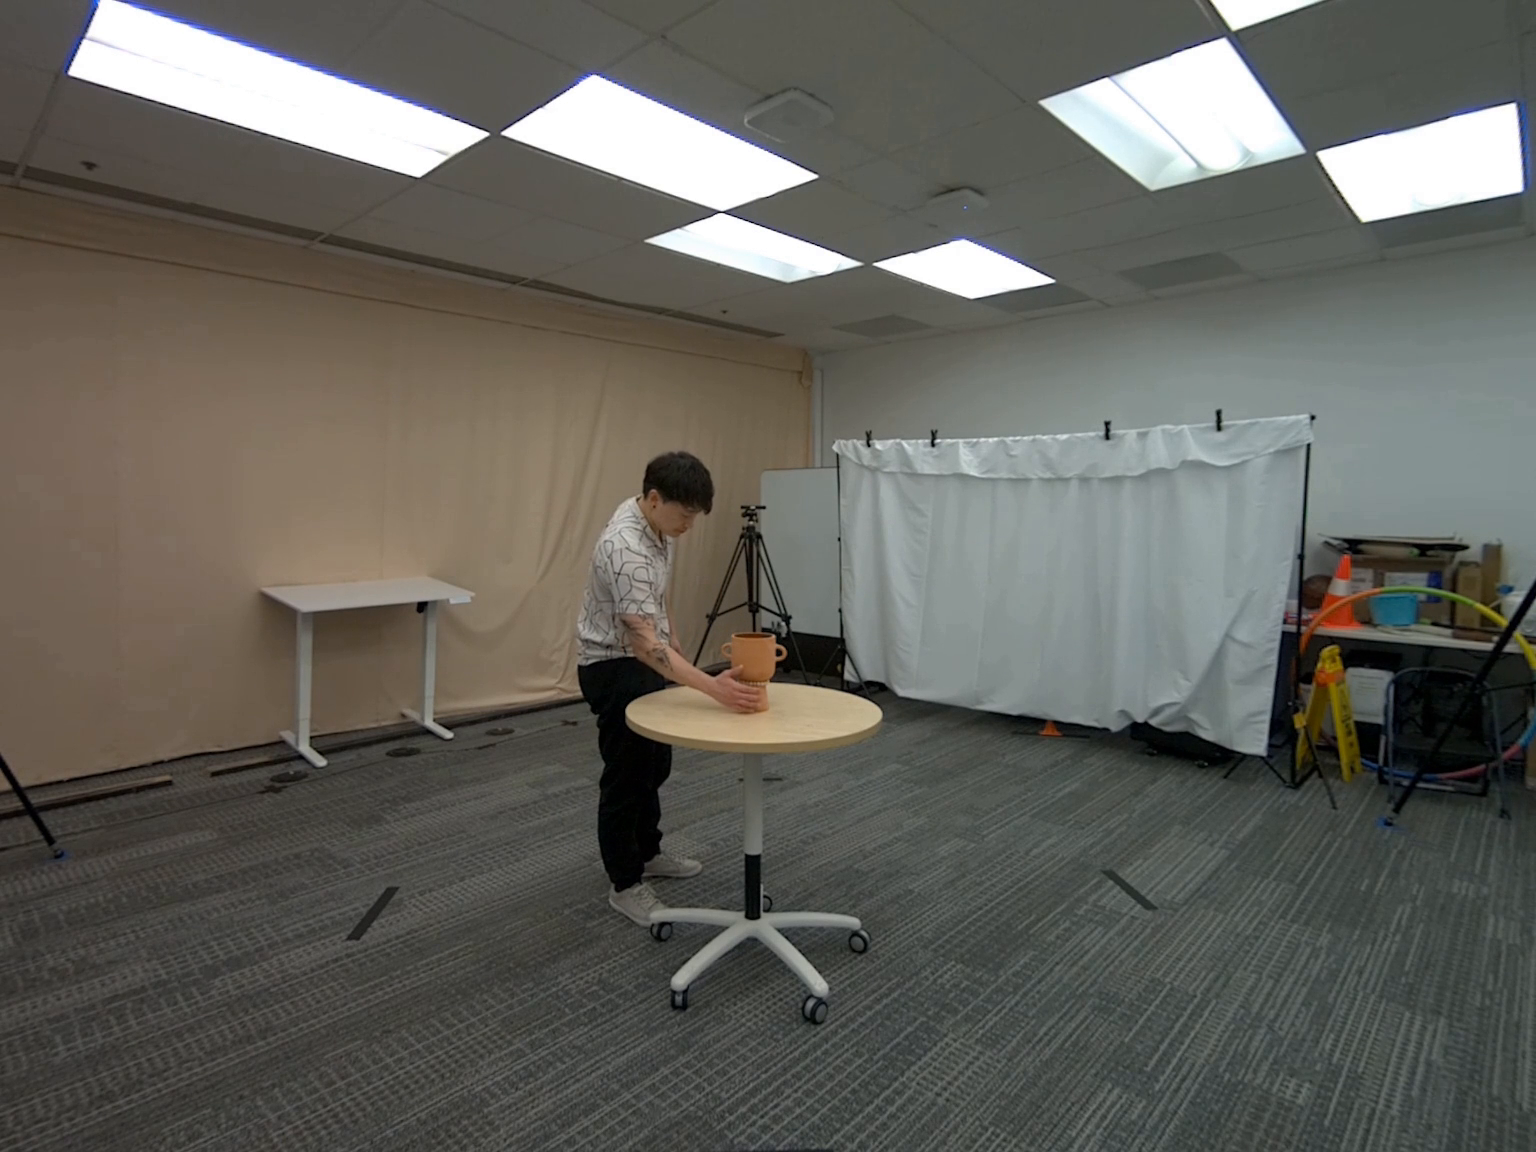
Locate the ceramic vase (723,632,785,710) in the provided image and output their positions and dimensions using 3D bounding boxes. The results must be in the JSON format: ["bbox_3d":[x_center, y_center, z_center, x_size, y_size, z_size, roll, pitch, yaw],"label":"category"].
[{"bbox_3d":[-0.039,0.291,2.521,0.130,0.219,0.164,-2,4,-42],"label":"ceramic vase"}]
